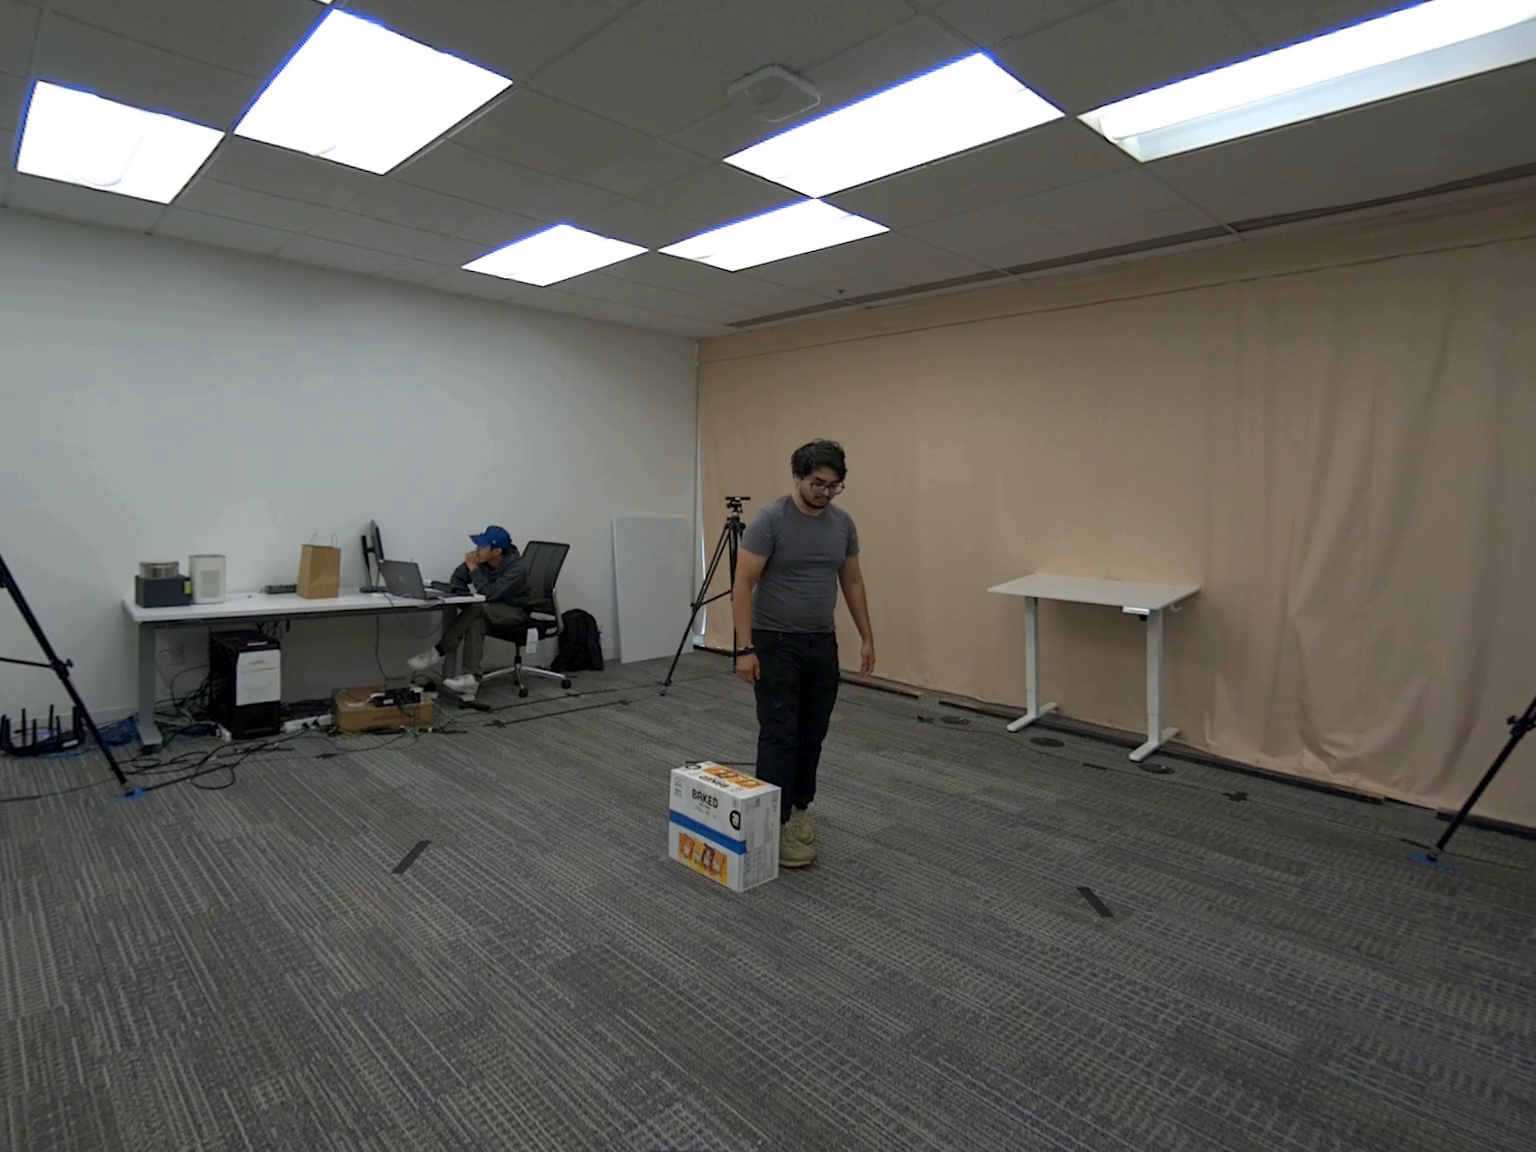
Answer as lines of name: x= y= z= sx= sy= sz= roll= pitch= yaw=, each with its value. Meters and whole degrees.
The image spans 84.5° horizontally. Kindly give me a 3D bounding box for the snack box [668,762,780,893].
snack box: x=-0.175 y=0.931 z=3.165 sx=0.201 sy=0.339 sz=0.416 roll=-1 pitch=5 yaw=-44
